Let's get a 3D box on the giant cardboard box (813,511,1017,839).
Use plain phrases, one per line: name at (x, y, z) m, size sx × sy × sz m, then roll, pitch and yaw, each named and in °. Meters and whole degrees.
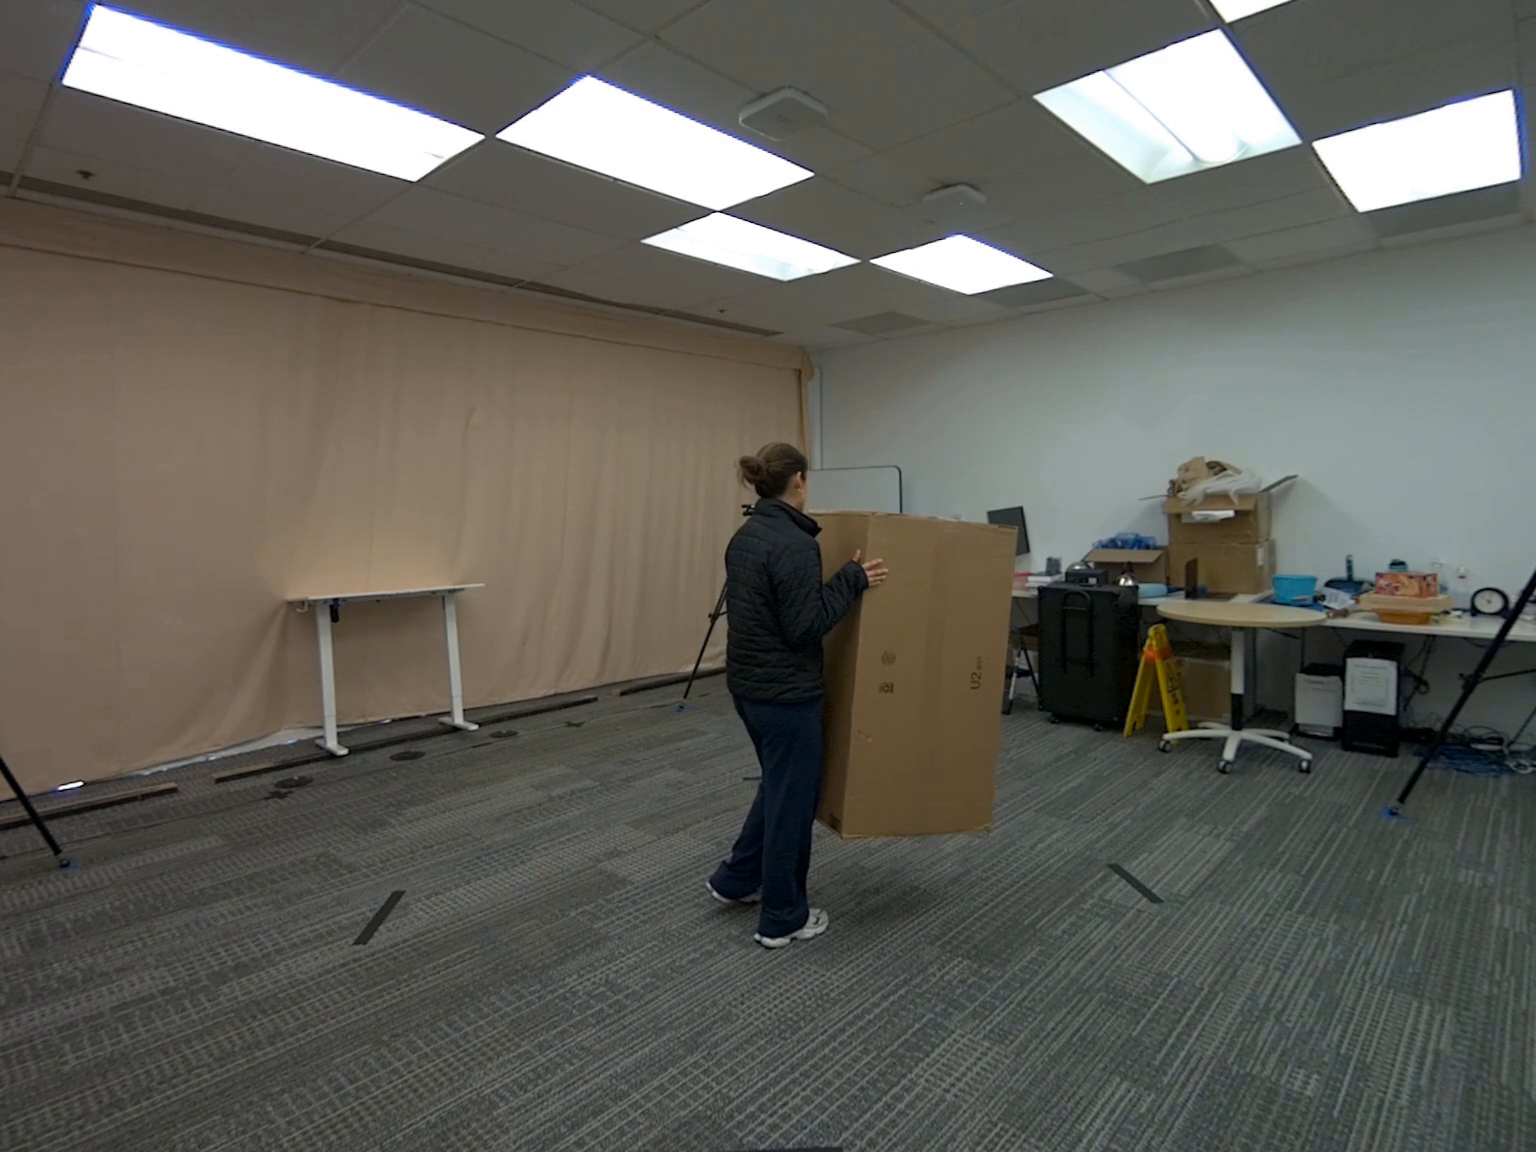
giant cardboard box at (0.451, 0.312, 2.914) m, size 0.564 × 1.025 × 0.437 m, roll 4°, pitch 2°, yaw -23°
